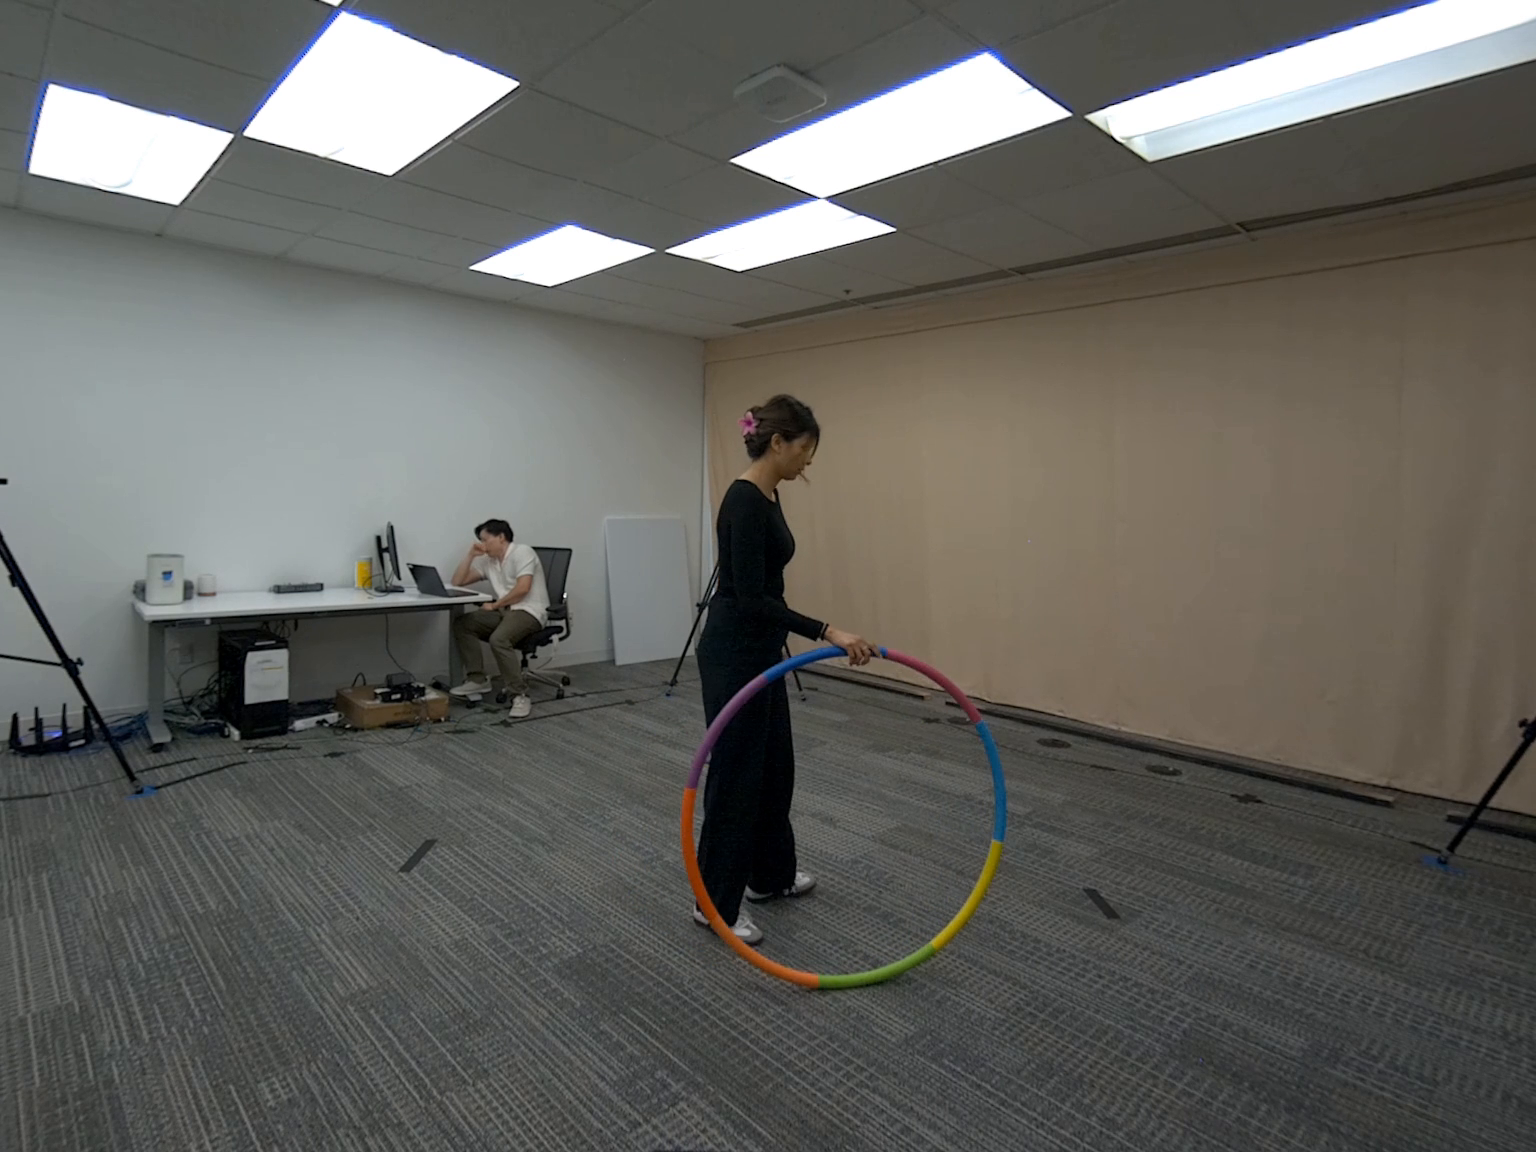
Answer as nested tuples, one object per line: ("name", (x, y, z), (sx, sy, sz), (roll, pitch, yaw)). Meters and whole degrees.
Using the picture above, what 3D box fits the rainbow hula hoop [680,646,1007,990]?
("rainbow hula hoop", (0.229, 0.695, 2.432), (0.969, 0.979, 0.036), (0, -1, -12))
